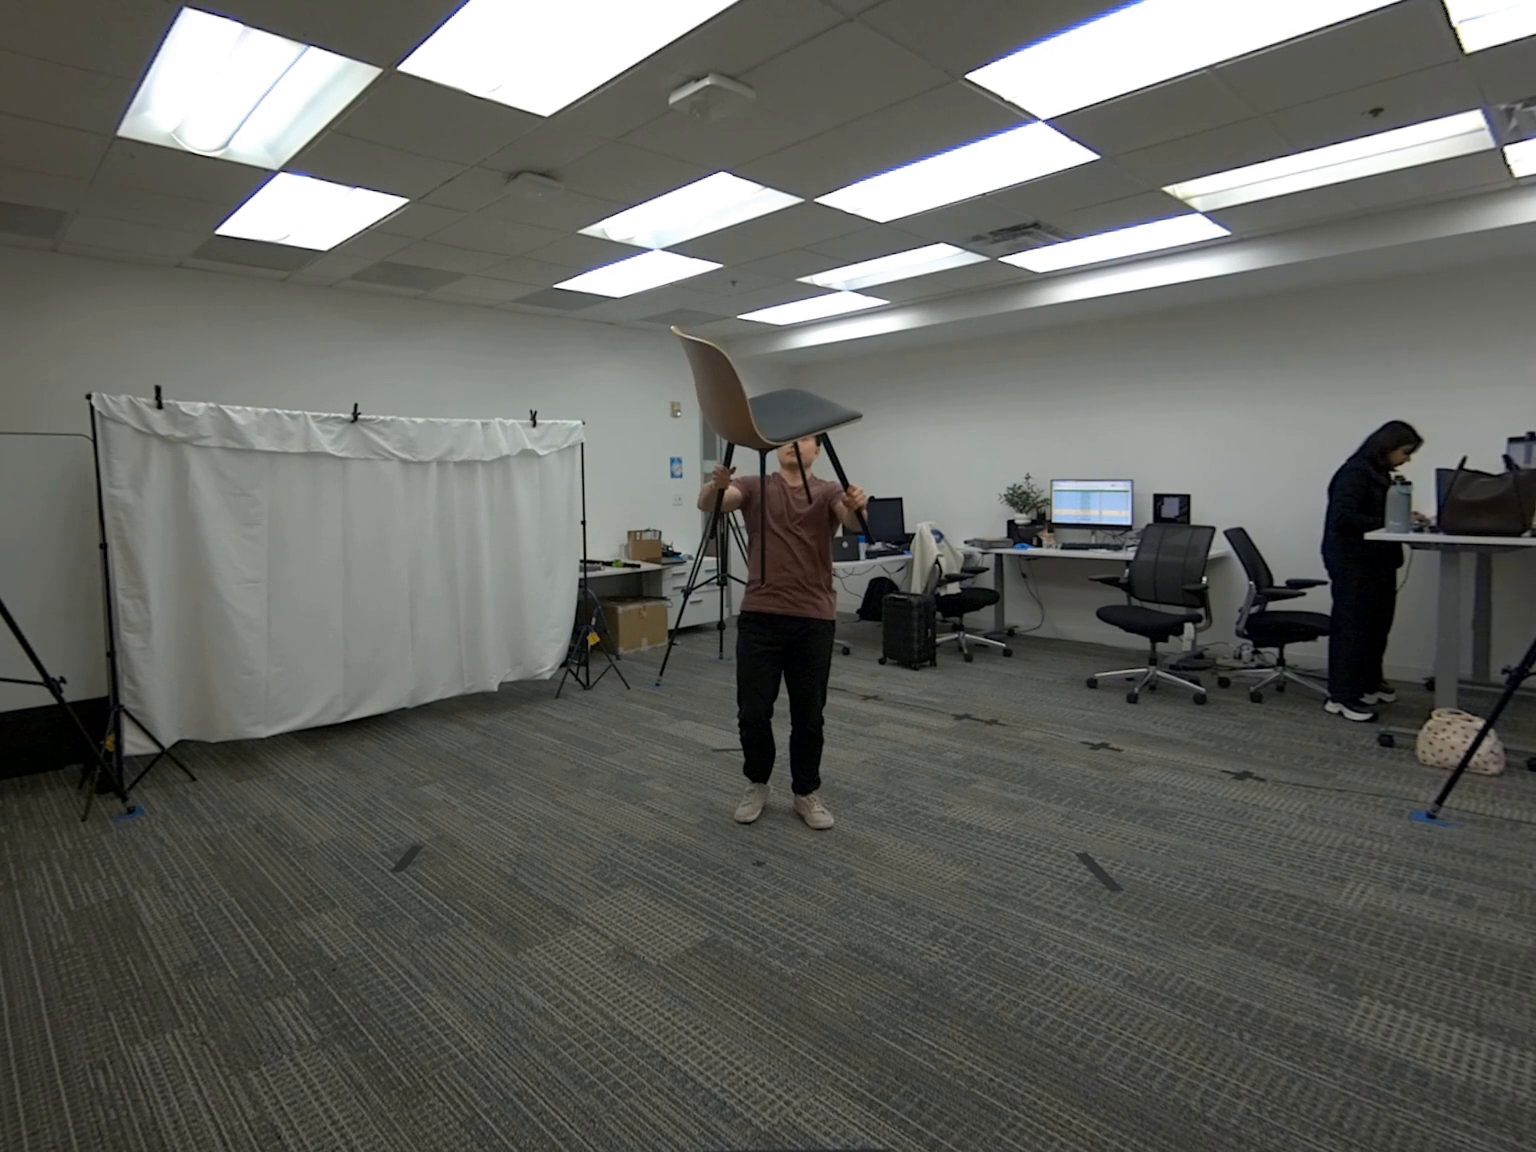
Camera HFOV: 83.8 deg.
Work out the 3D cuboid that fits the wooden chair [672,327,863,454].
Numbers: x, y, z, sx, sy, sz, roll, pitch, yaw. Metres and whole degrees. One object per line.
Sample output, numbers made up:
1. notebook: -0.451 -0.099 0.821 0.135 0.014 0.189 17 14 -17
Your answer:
1. wooden chair: 0.028 -0.493 2.932 0.519 0.853 0.495 -23 30 -16
